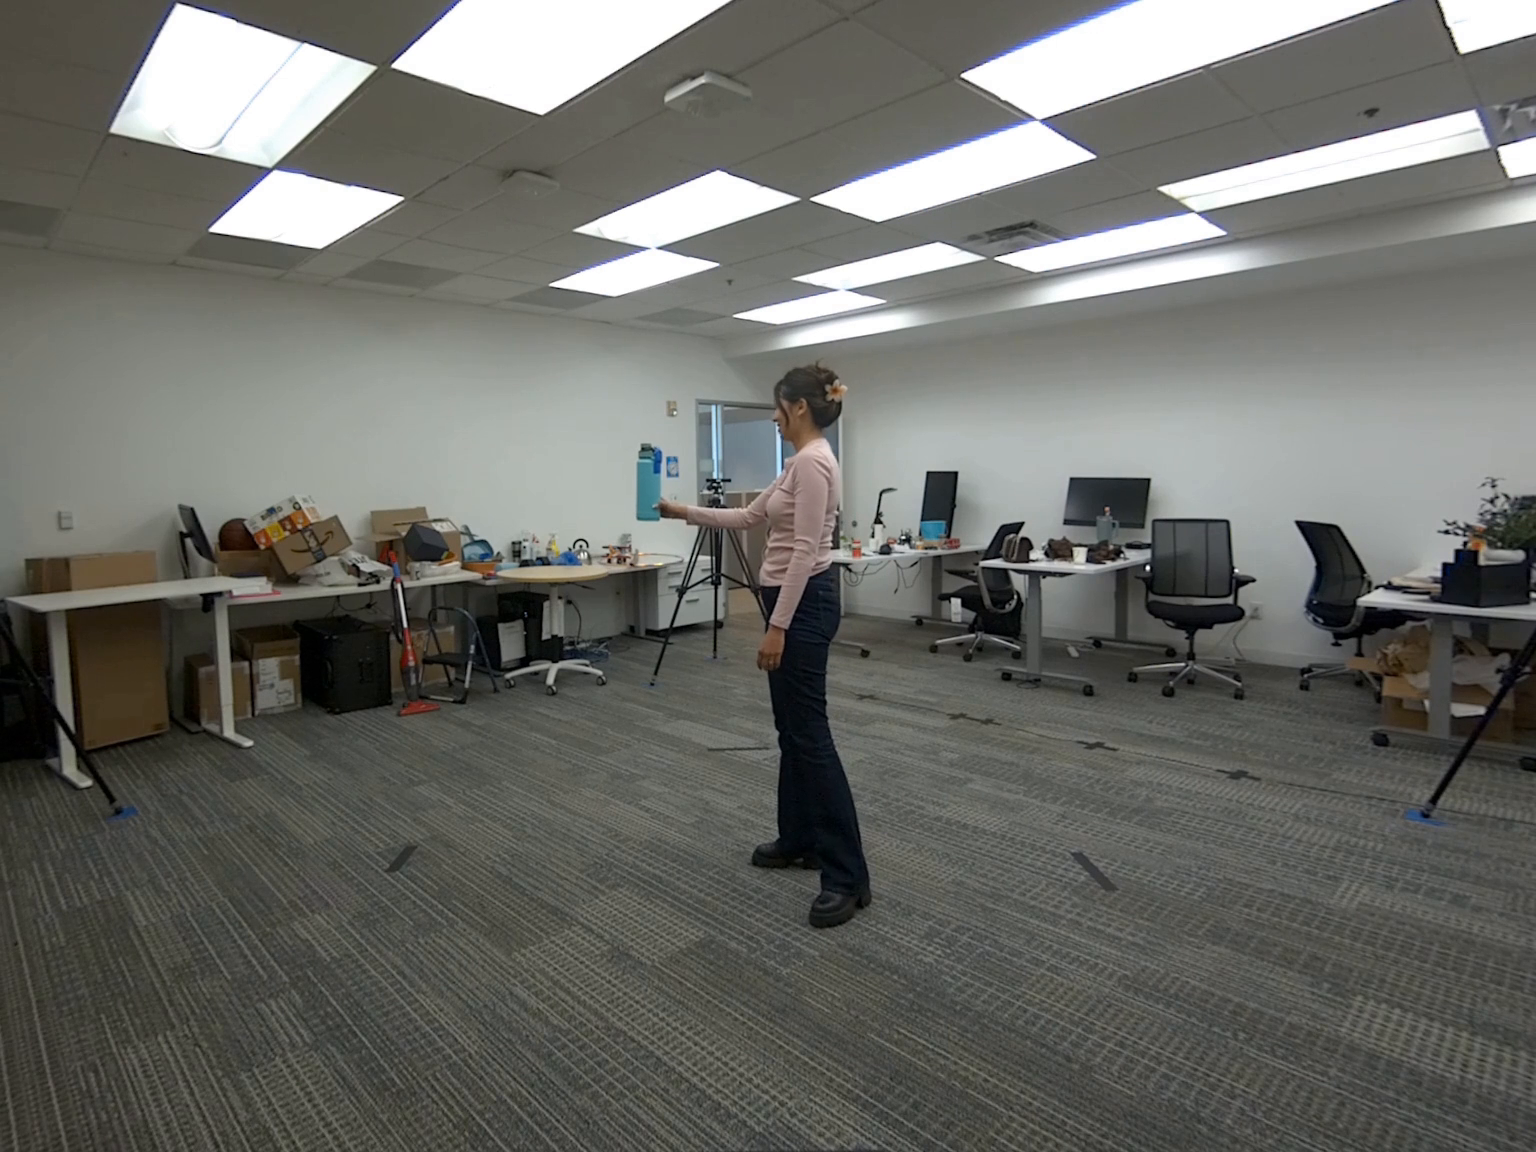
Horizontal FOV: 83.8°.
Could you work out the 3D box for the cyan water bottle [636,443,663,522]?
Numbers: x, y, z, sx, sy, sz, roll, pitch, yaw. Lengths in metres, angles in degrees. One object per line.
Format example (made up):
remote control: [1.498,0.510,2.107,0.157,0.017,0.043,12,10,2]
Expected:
cyan water bottle: [-0.433,-0.352,3.151,0.092,0.281,0.093,1,8,-2]
